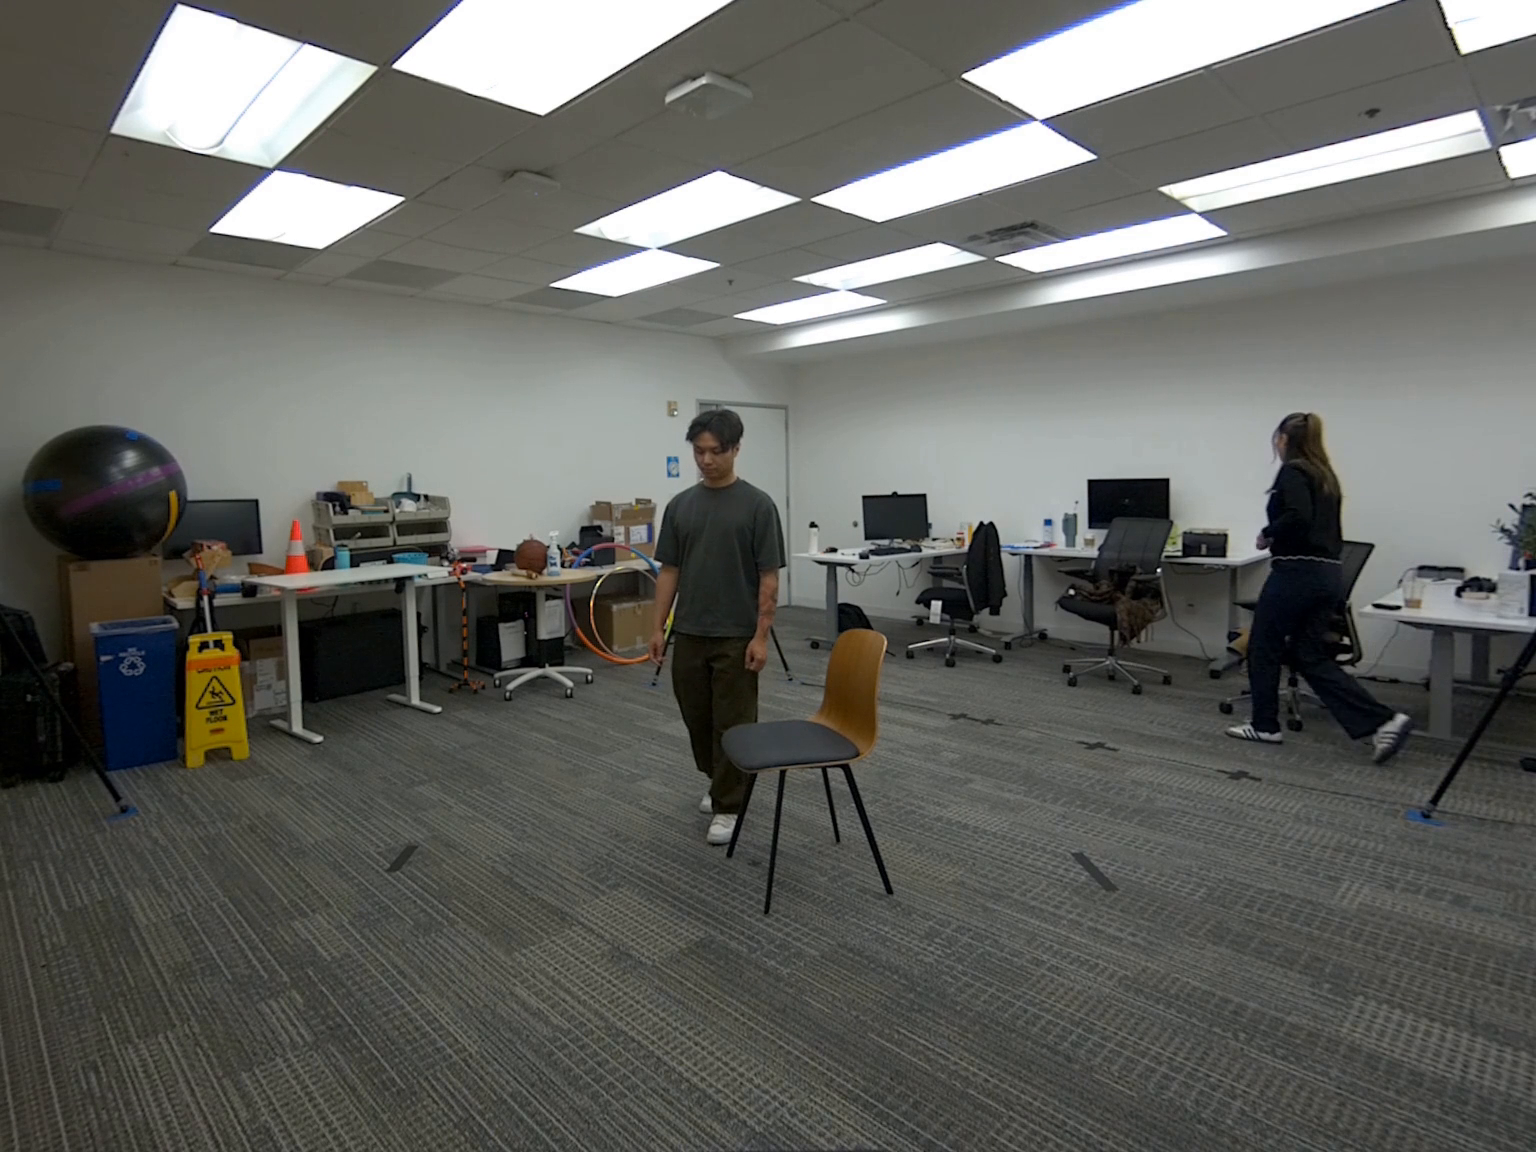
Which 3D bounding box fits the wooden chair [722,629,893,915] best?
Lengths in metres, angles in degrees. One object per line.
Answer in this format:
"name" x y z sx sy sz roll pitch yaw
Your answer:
"wooden chair" 0.121 0.626 2.974 0.514 0.875 0.487 2 3 -18
